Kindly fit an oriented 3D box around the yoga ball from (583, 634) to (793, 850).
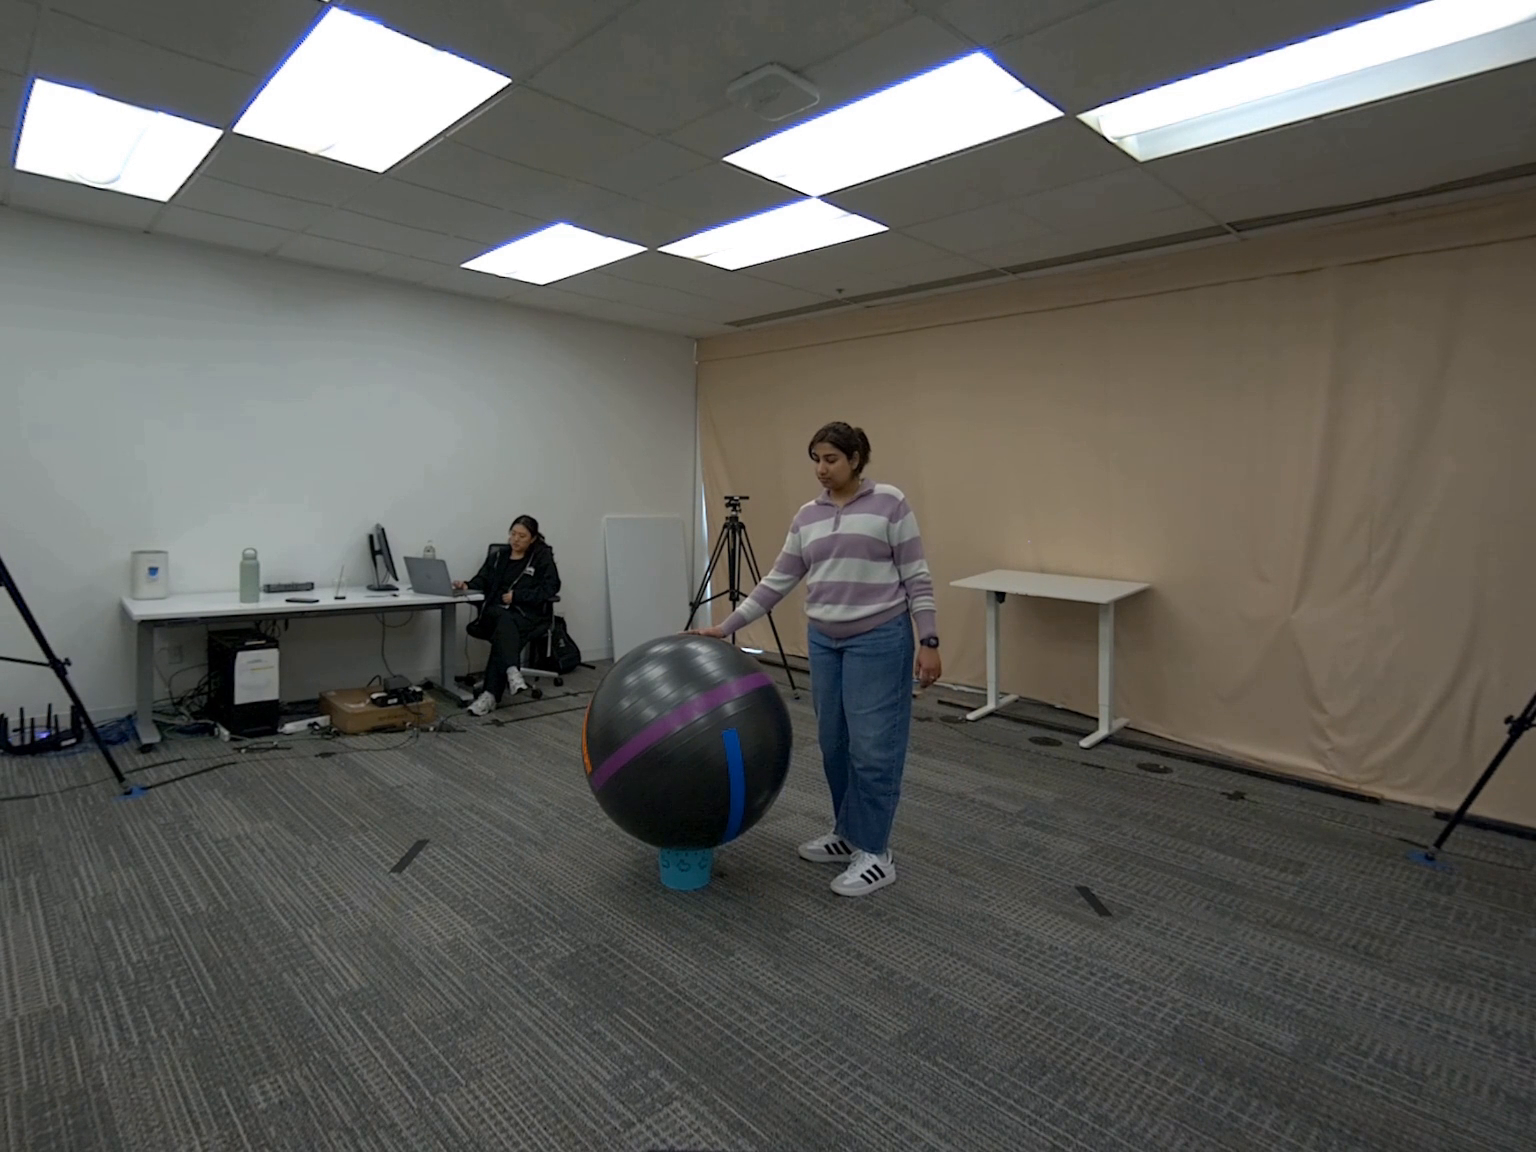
[{"bbox_3d":[-0.297,0.594,3.043,0.757,0.756,0.761,1,4,-1],"label":"yoga ball"}]
